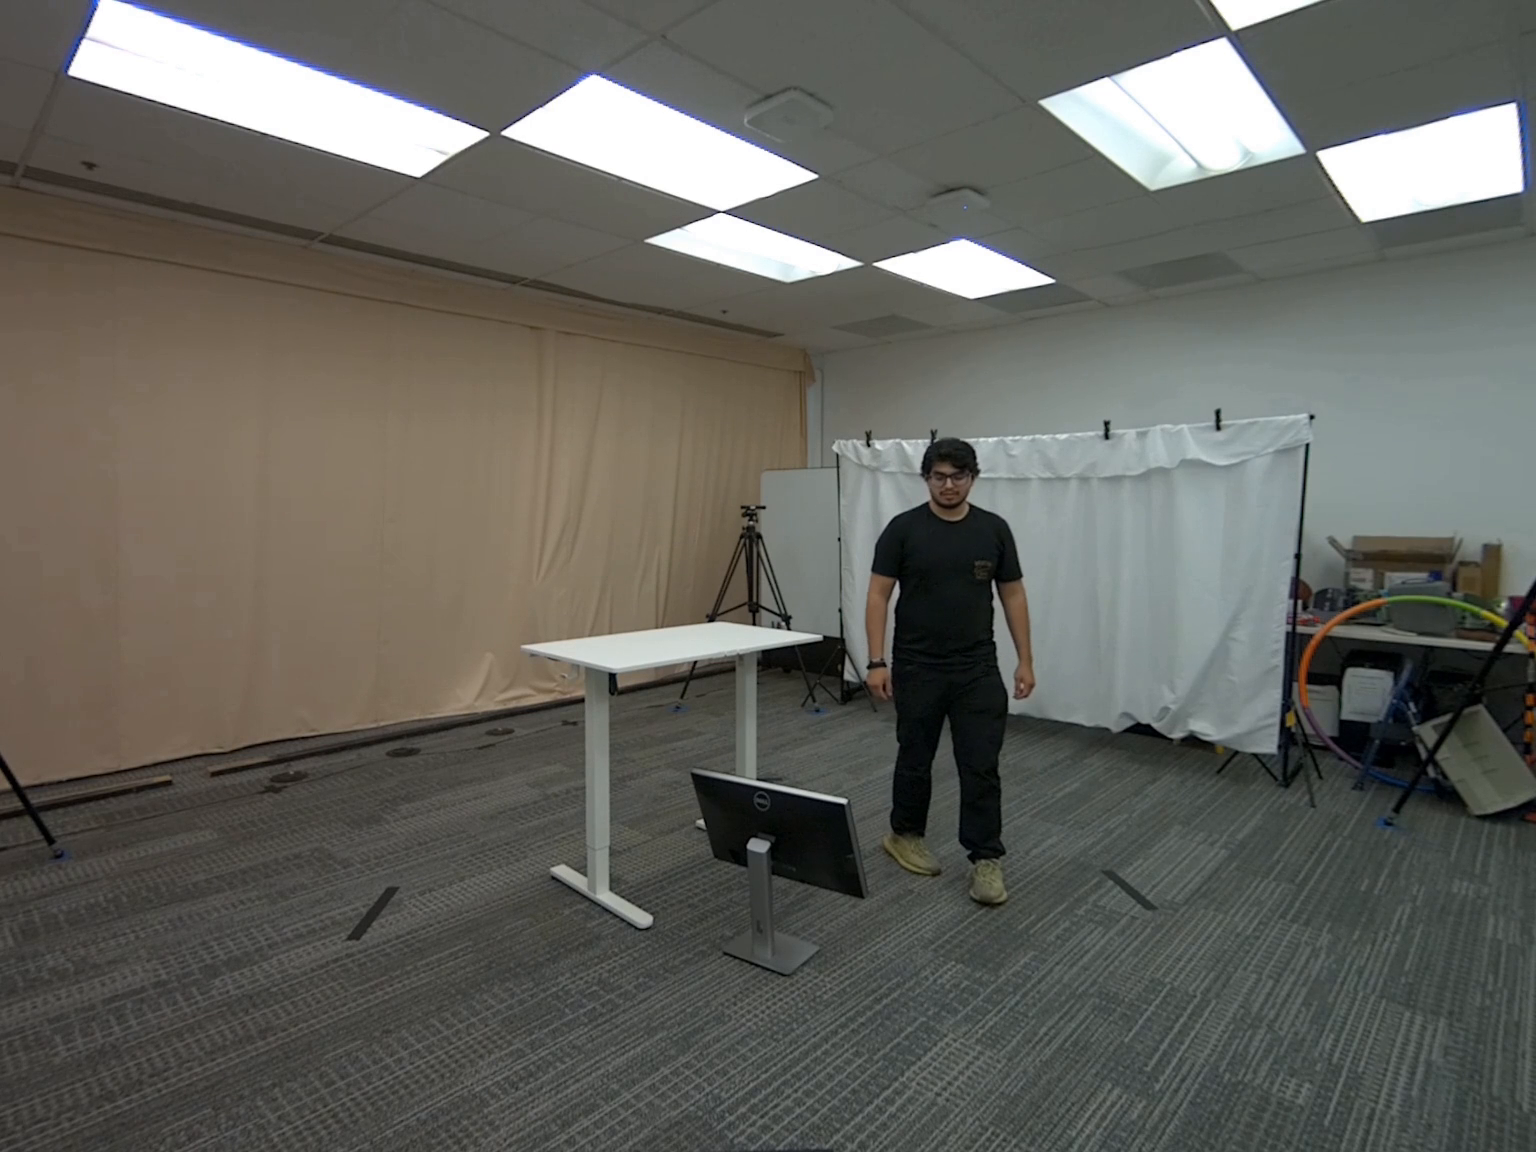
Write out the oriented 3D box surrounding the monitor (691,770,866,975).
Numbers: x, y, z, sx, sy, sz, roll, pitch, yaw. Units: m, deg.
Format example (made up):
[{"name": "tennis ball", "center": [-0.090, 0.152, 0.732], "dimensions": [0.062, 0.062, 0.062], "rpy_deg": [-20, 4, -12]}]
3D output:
[{"name": "monitor", "center": [-0.001, 0.911, 2.593], "dimensions": [0.582, 0.549, 0.205], "rpy_deg": [2, 13, 33]}]
